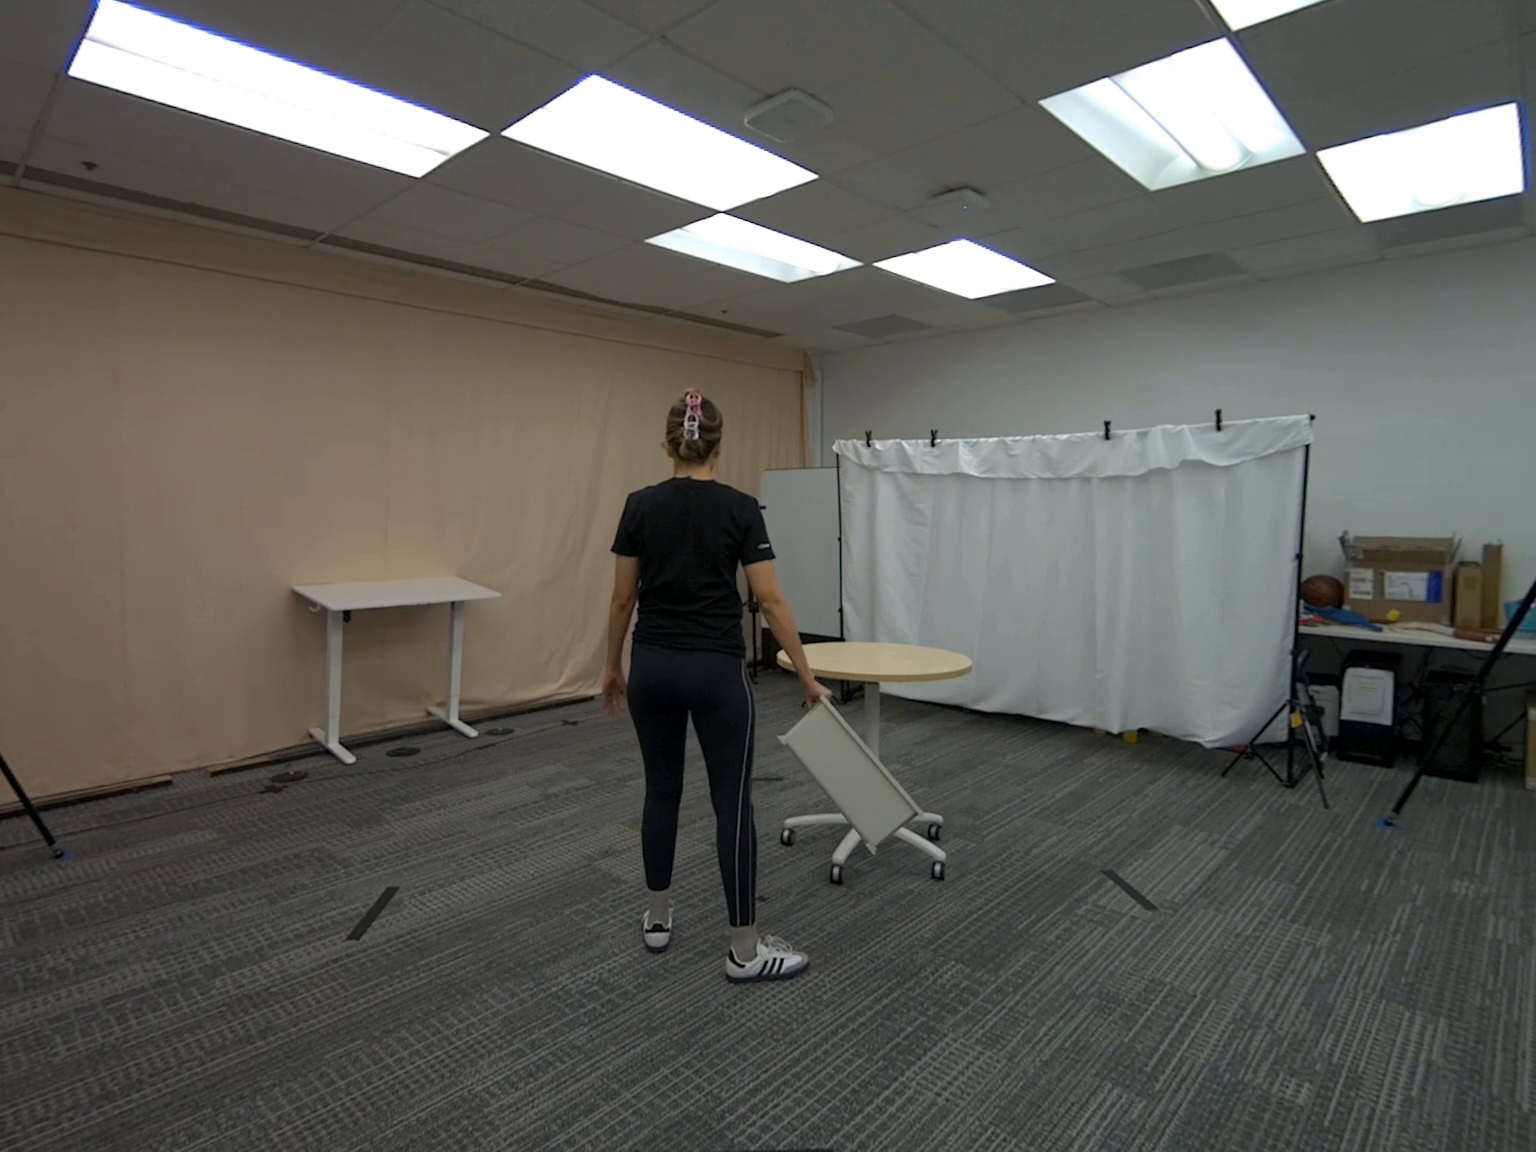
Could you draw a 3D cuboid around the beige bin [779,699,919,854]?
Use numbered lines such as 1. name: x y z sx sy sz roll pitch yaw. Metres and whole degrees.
1. beige bin: 0.245 0.600 2.534 0.189 0.430 0.370 -40 -15 0
